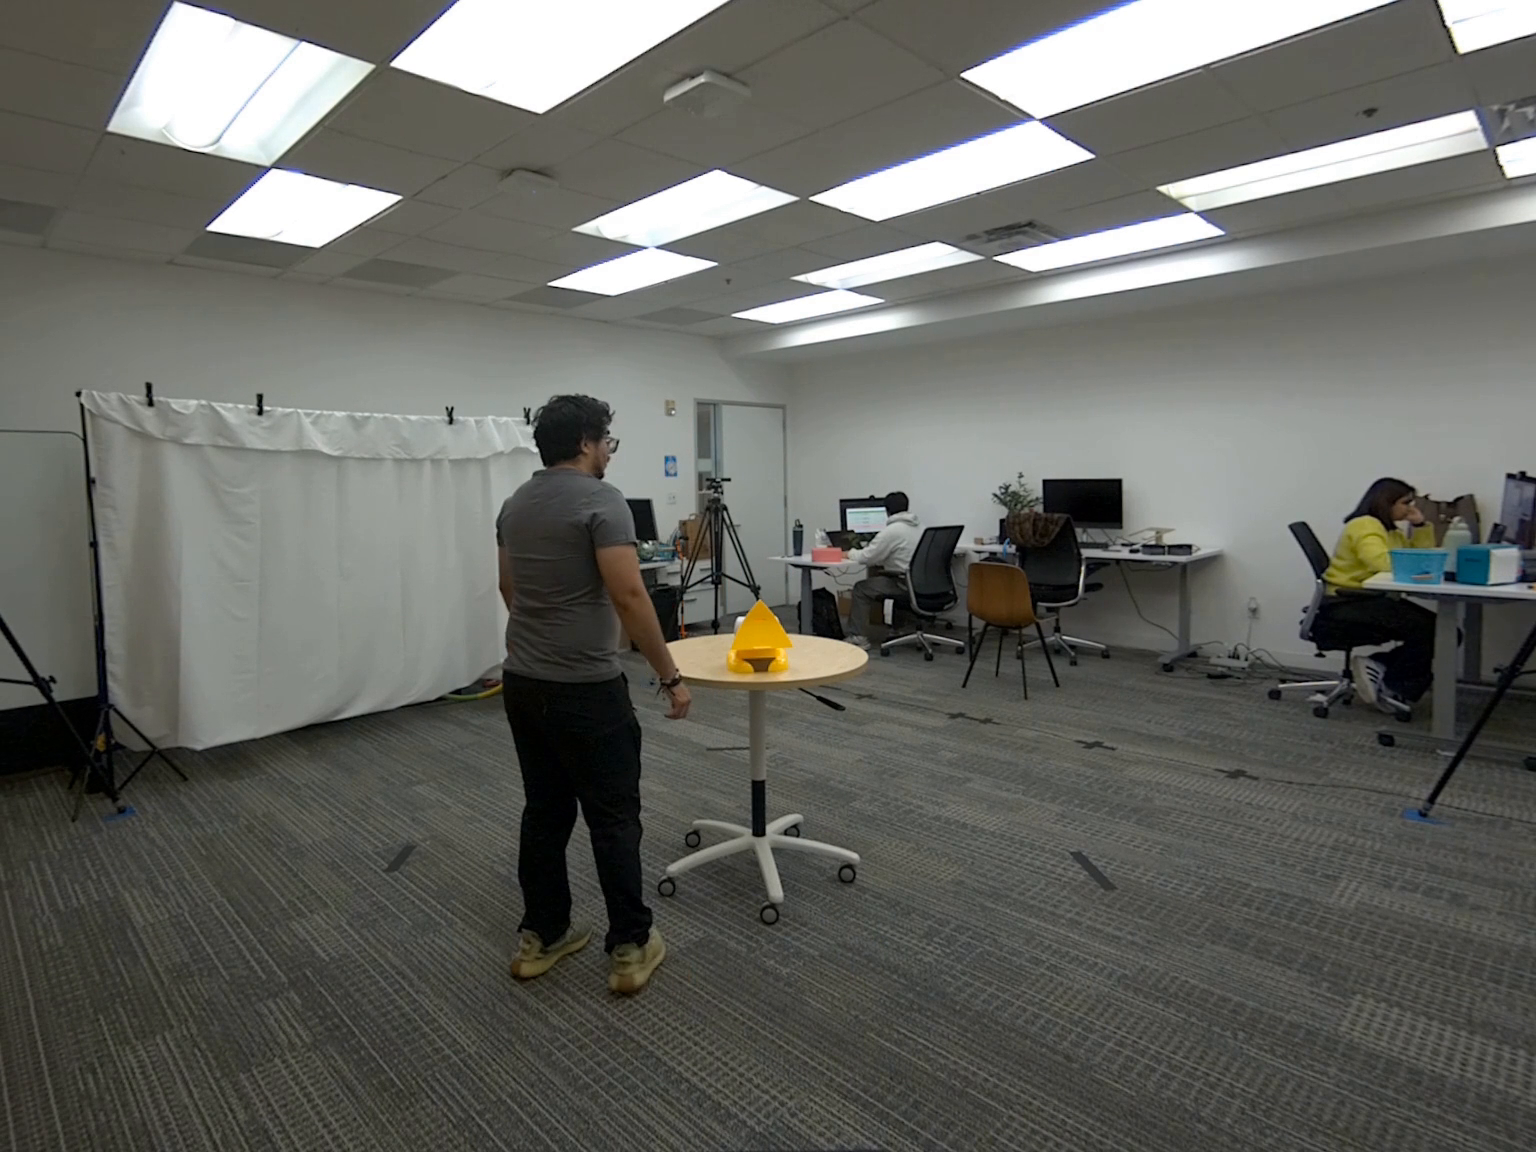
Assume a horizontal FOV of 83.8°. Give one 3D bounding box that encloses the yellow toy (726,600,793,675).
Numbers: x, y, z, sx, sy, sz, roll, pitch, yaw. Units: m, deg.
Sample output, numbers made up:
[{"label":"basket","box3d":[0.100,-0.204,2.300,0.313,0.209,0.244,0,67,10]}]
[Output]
[{"label":"yellow toy","box3d":[-0.031,0.183,2.773,0.203,0.229,0.196,-2,6,-9]}]
